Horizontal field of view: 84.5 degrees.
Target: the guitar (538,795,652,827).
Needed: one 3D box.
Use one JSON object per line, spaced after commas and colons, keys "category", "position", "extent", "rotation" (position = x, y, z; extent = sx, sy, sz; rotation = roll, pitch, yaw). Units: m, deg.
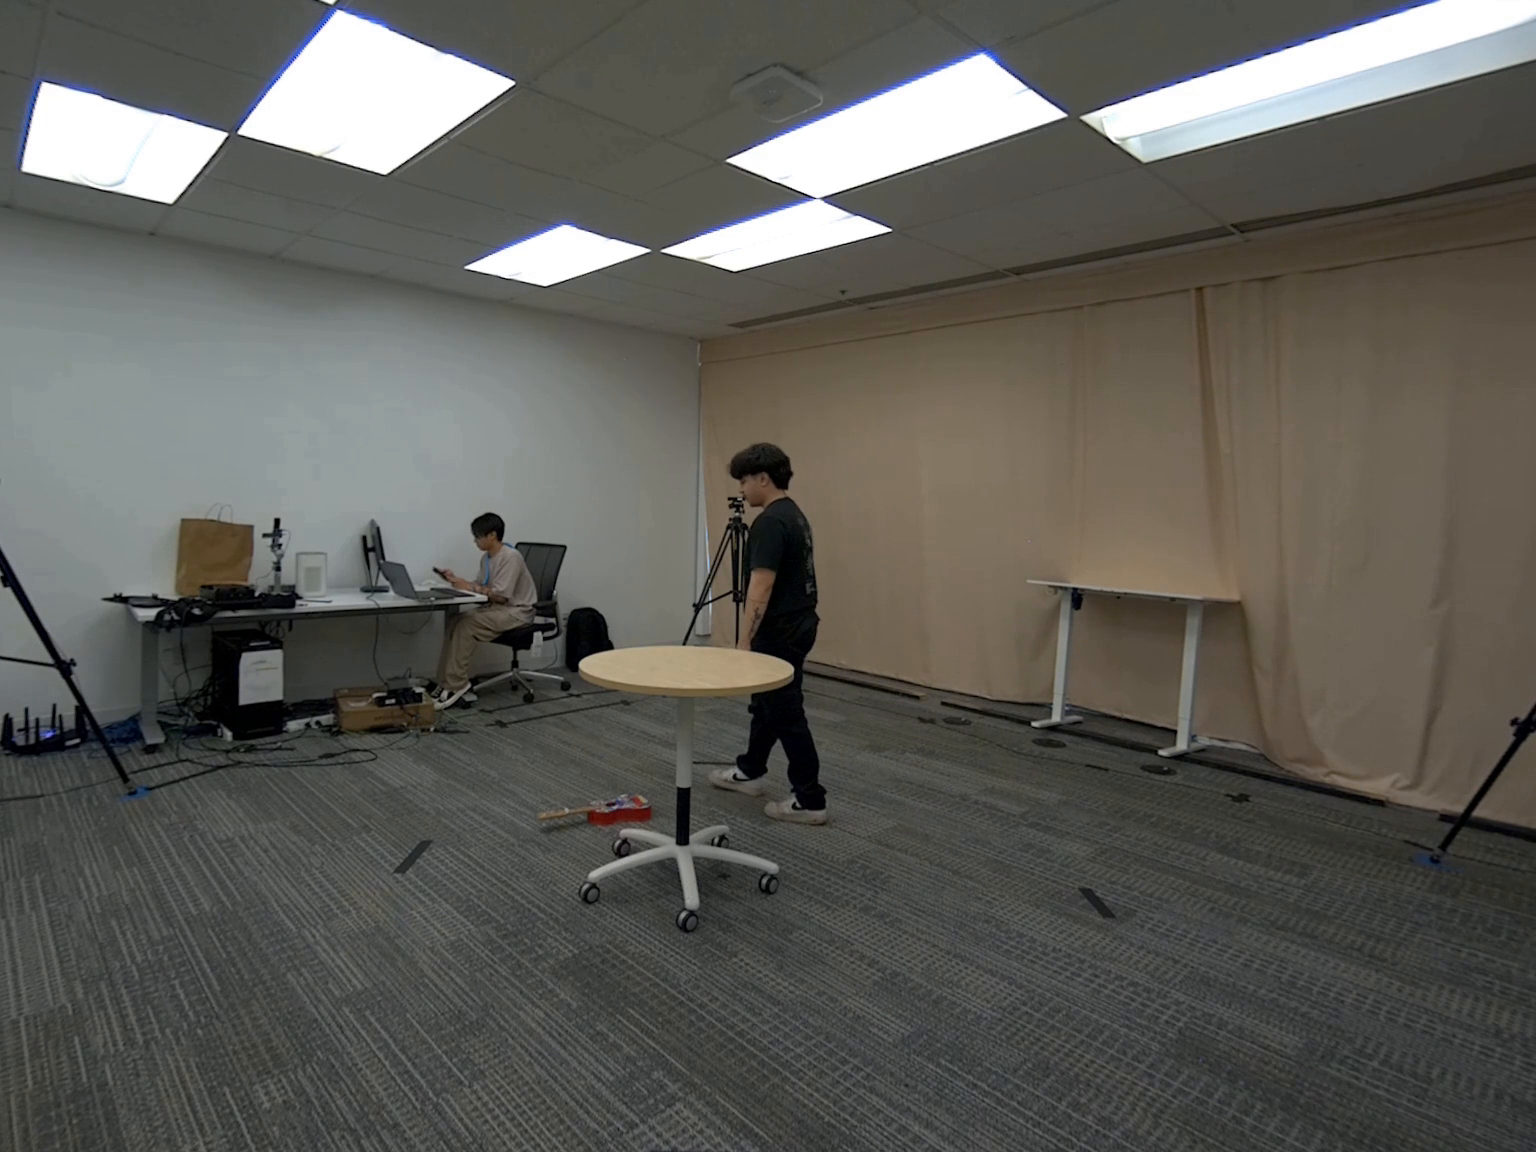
{"category": "guitar", "position": [-0.766, 1.016, 3.631], "extent": [0.490, 0.070, 0.197], "rotation": [0, 6, -22]}
